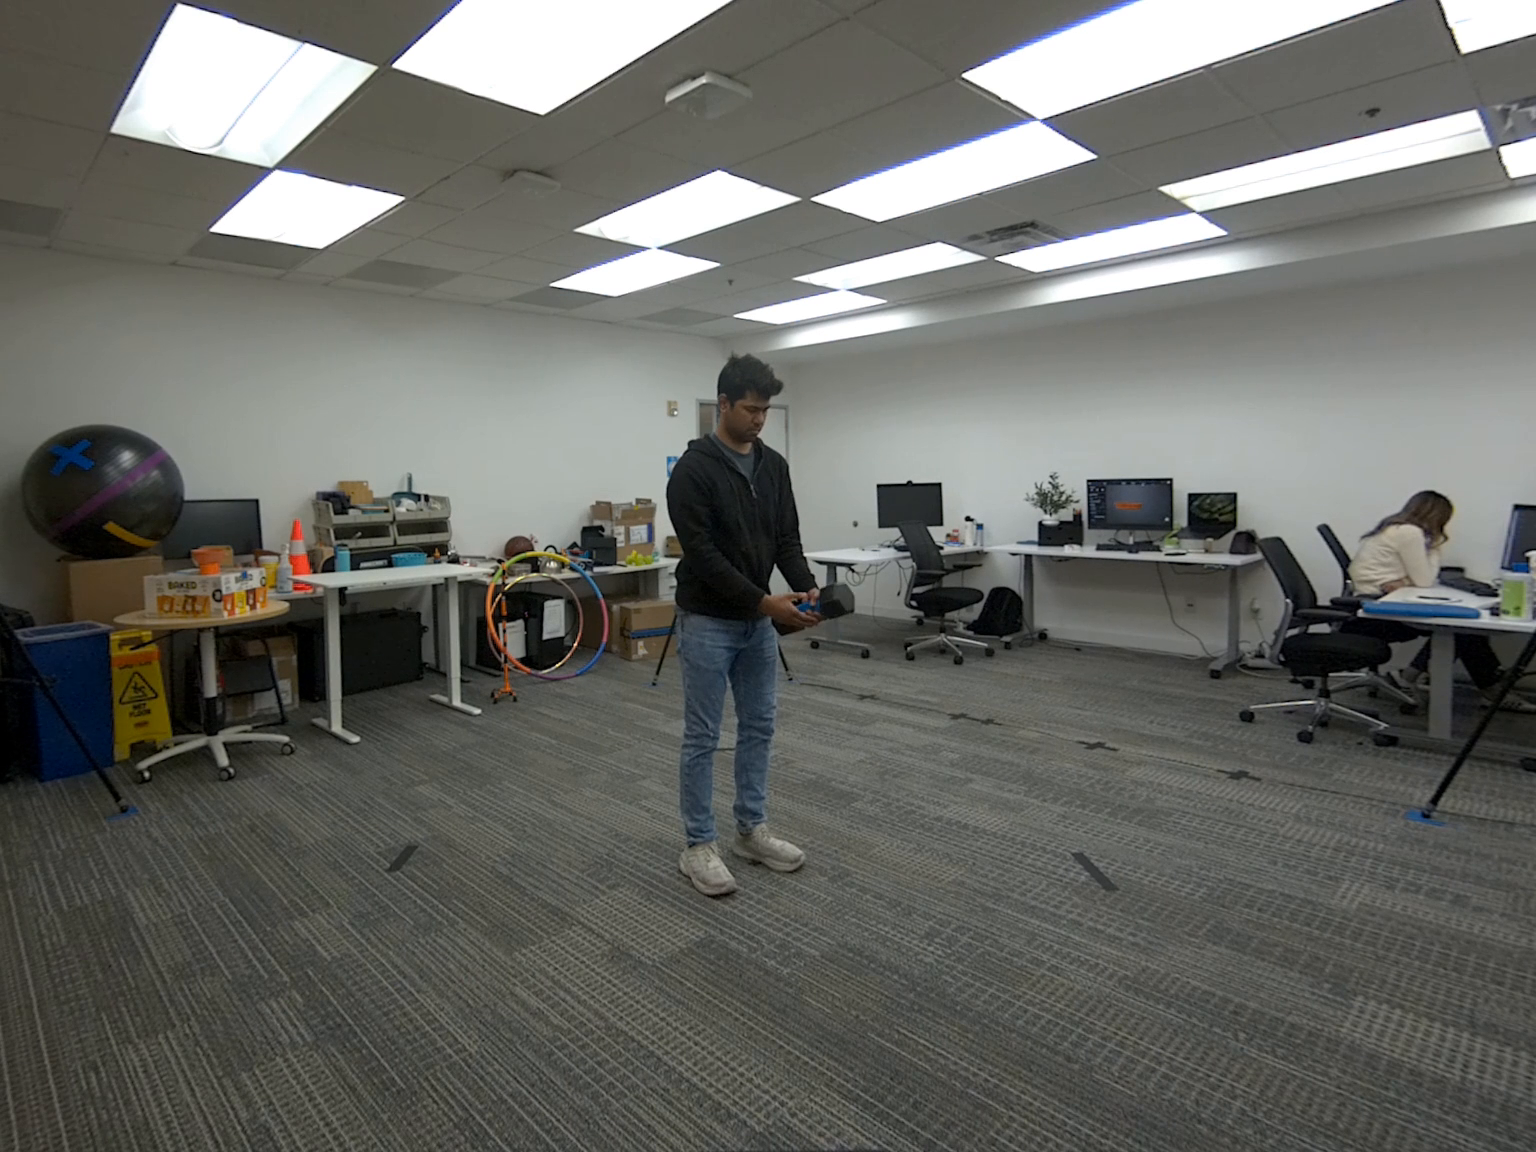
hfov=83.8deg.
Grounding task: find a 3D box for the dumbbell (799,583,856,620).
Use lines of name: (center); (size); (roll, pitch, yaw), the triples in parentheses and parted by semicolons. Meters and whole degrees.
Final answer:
dumbbell: (0.142, 0.118, 2.871); (0.298, 0.126, 0.105); (-24, -41, 38)
